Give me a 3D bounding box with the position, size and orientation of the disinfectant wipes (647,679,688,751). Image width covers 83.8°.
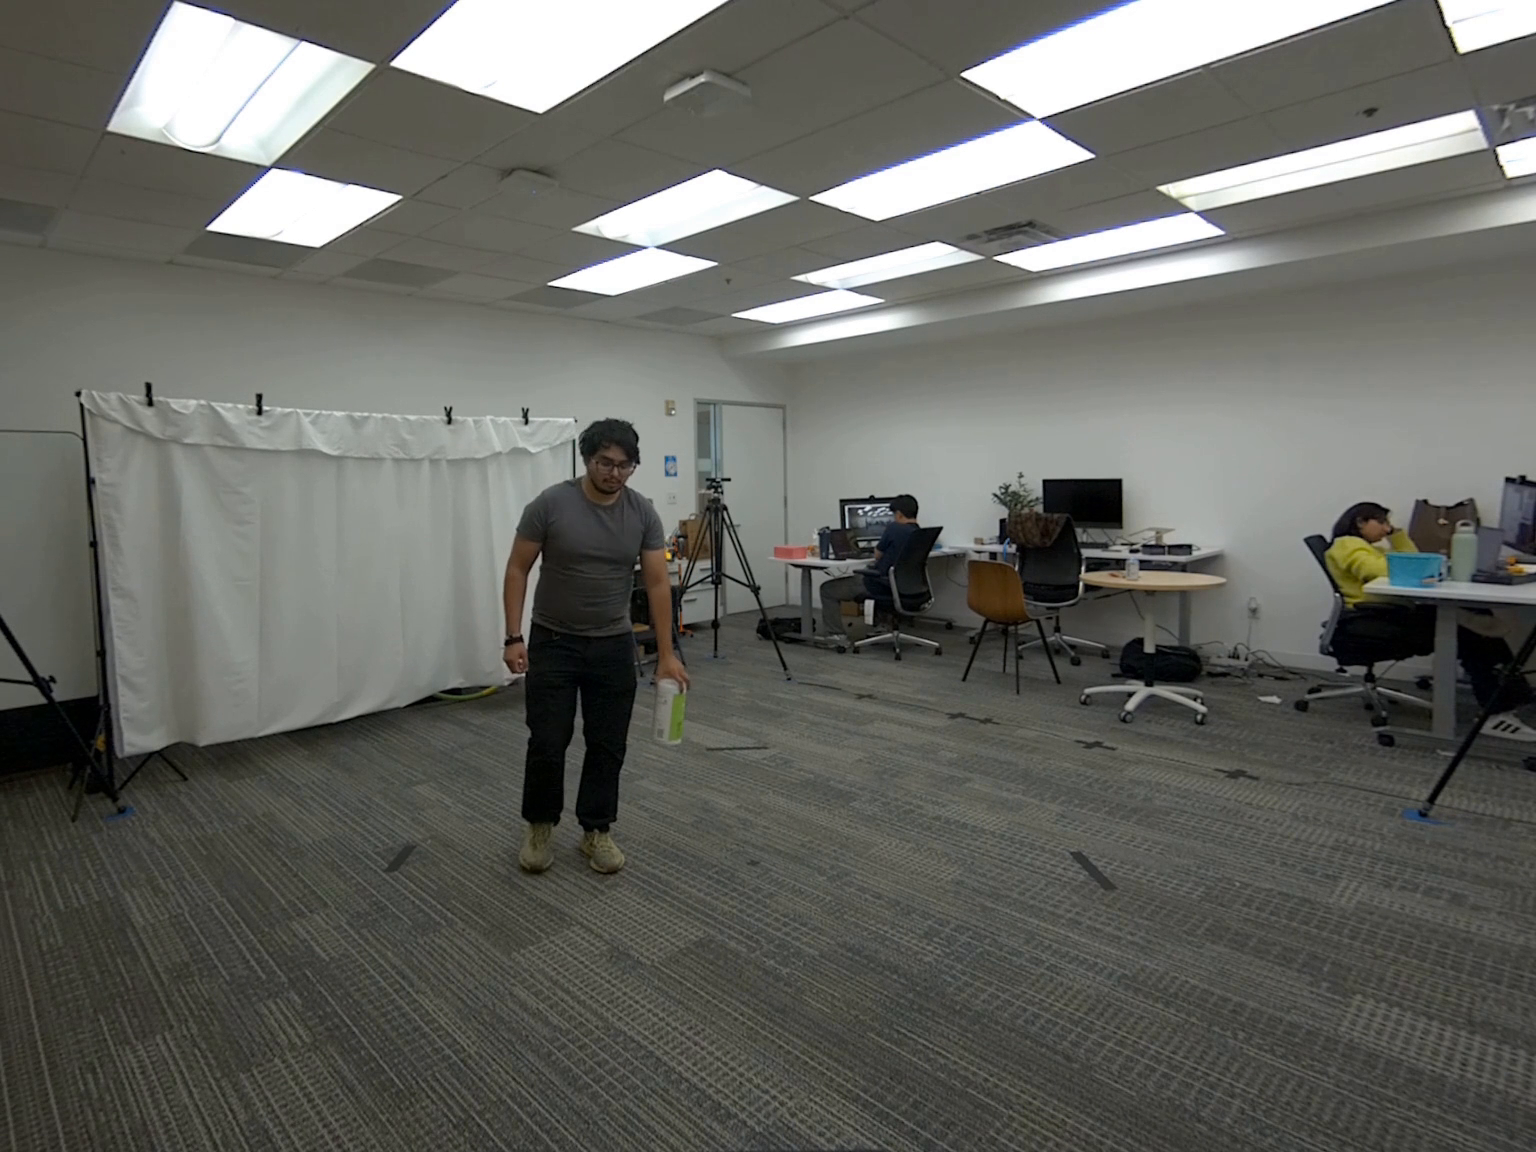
[{"bbox_3d":[-0.354,0.487,3.035,0.118,0.217,0.118,5,1,-2],"label":"disinfectant wipes"}]
